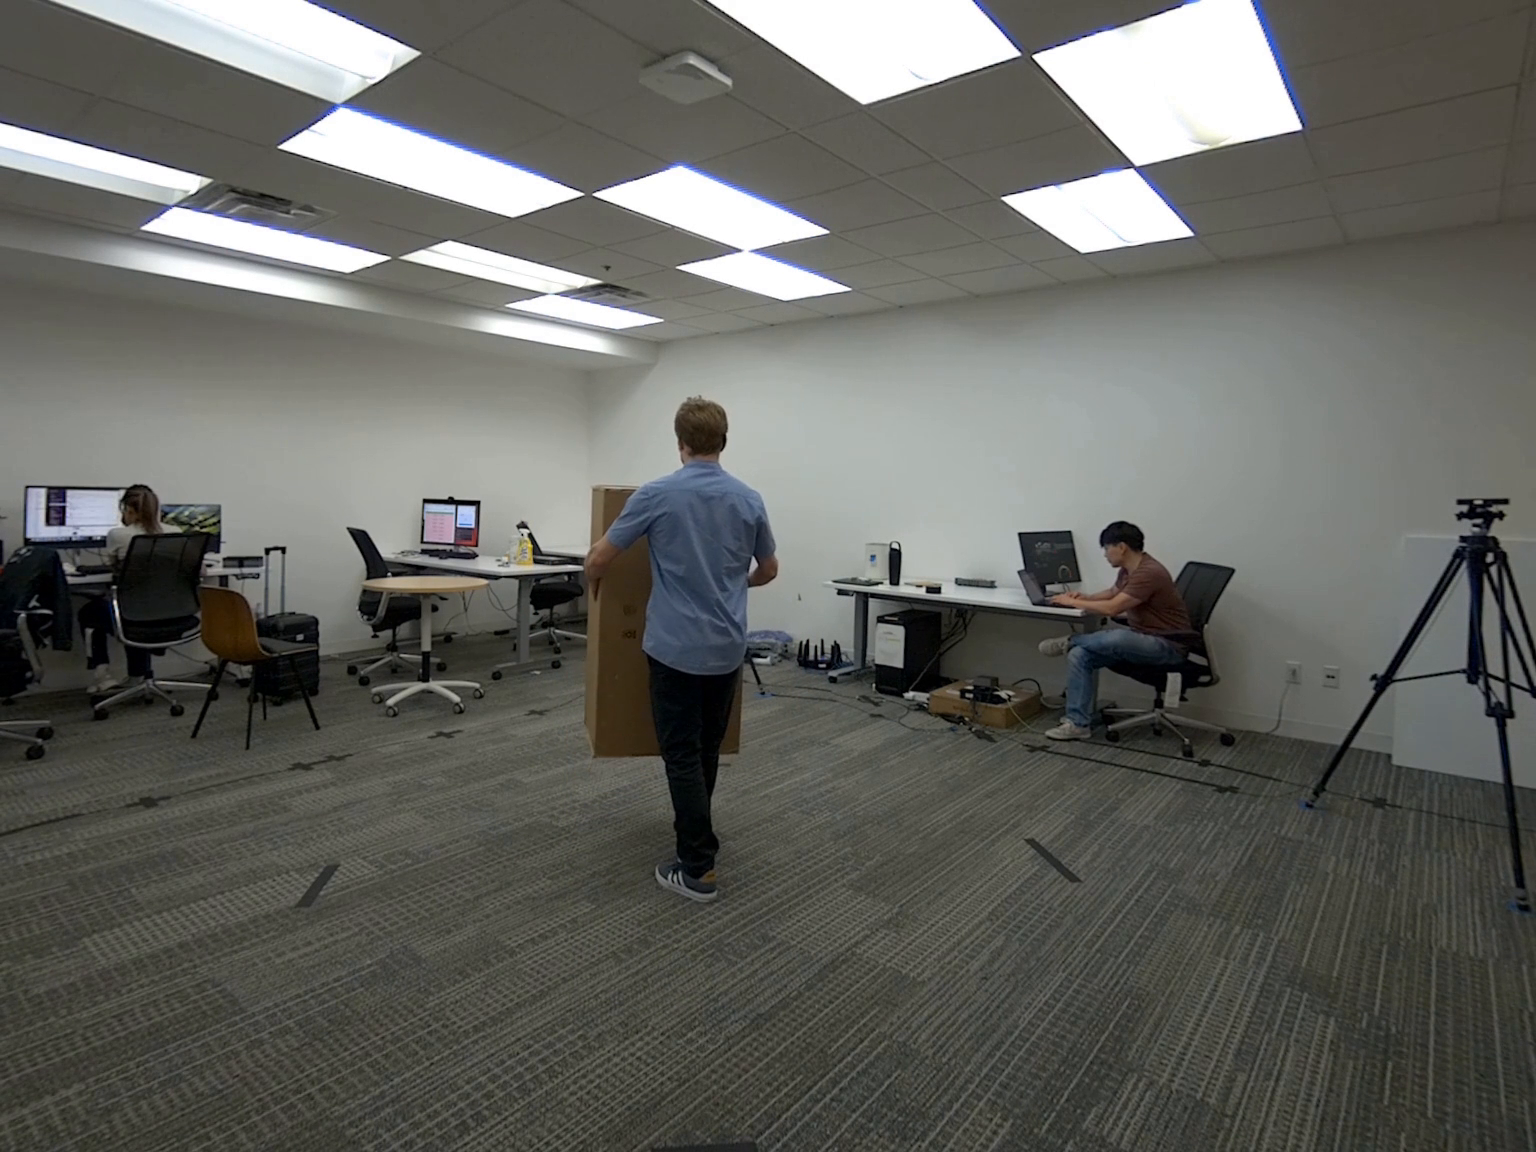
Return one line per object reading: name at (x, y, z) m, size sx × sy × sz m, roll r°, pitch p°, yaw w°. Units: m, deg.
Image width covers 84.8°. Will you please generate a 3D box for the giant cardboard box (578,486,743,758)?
giant cardboard box at (-0.428, 0.161, 3.437) m, size 0.569 × 1.021 × 0.434 m, roll 2°, pitch 5°, yaw -14°
